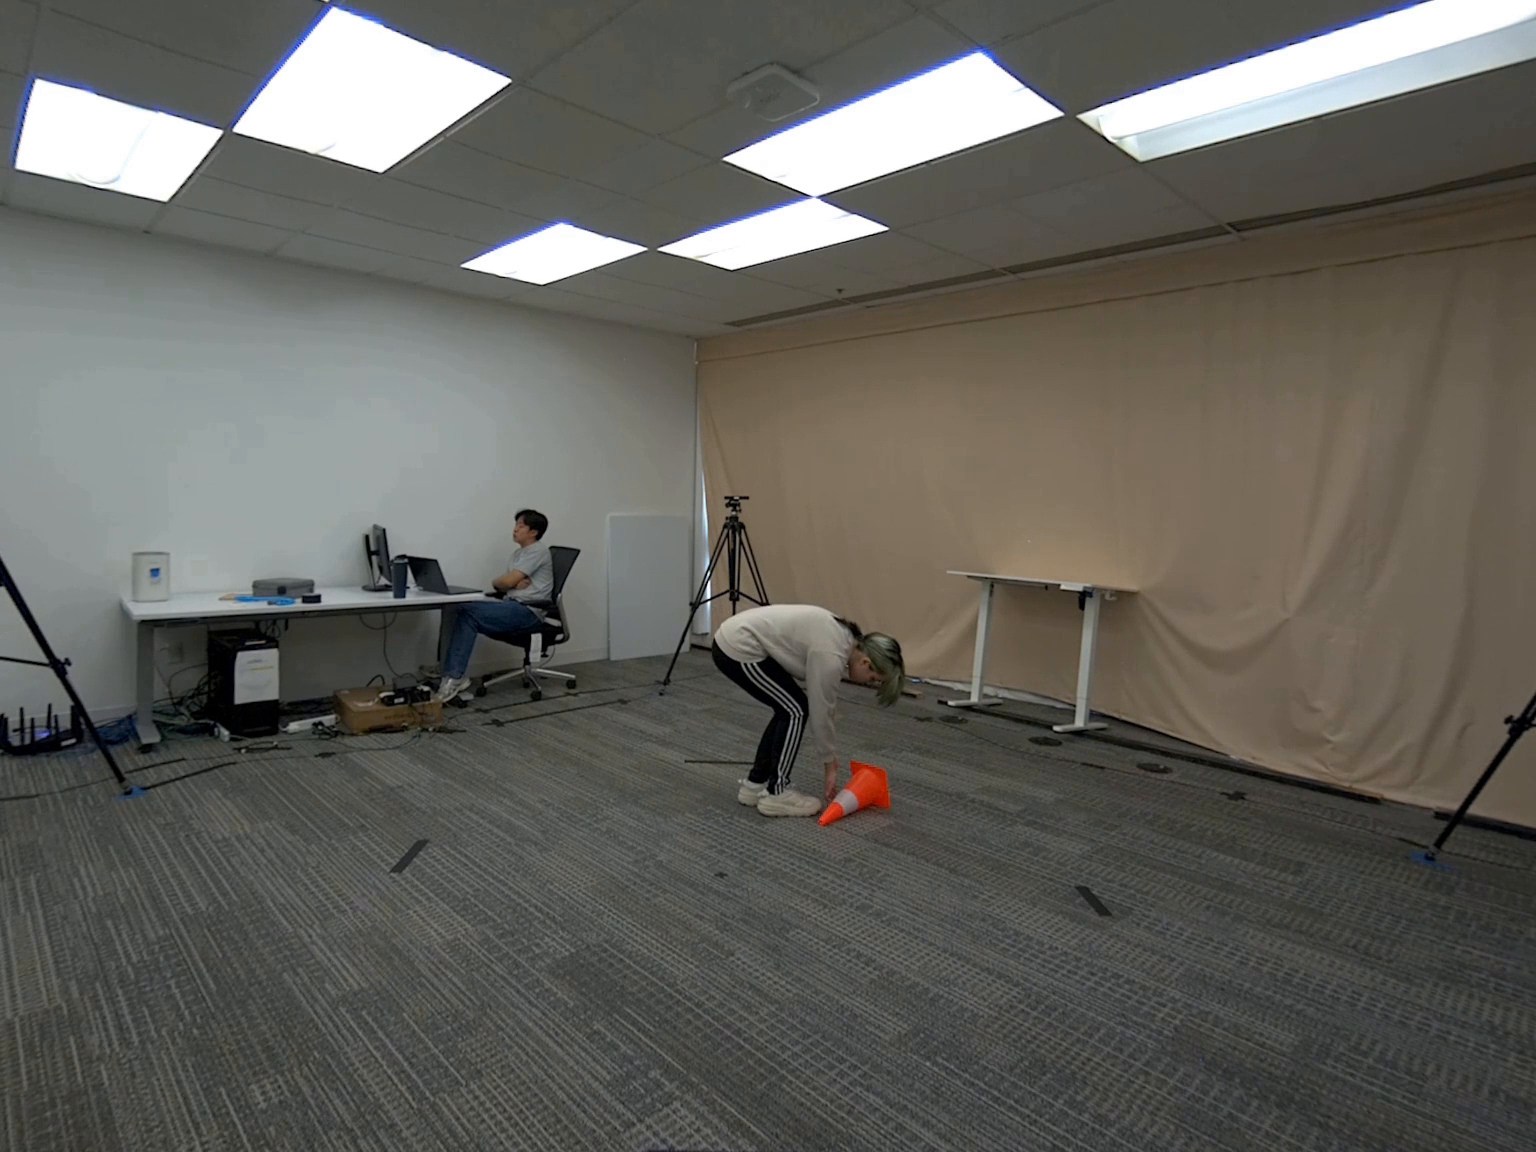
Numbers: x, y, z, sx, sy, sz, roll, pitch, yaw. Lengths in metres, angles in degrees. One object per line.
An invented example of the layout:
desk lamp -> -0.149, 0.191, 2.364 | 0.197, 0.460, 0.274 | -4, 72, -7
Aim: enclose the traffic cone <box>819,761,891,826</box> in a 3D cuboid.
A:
traffic cone -> 0.330, 1.001, 3.744 | 0.210, 0.201, 0.378 | 2, 16, 42
